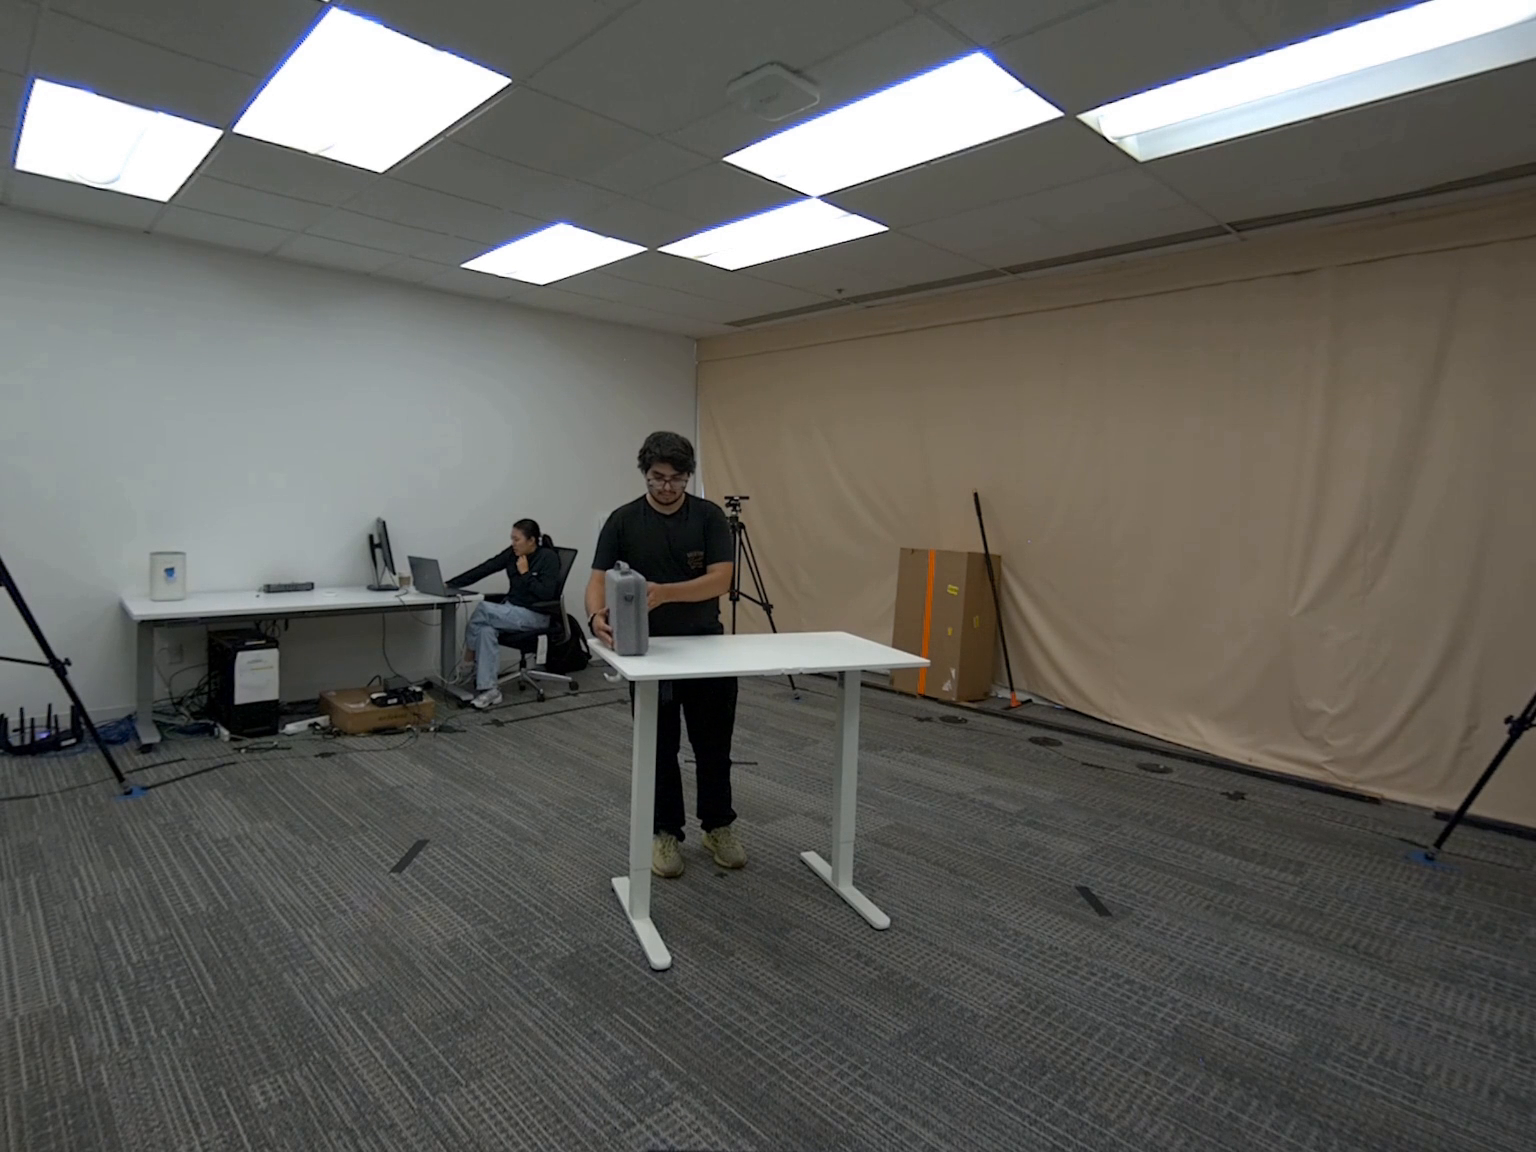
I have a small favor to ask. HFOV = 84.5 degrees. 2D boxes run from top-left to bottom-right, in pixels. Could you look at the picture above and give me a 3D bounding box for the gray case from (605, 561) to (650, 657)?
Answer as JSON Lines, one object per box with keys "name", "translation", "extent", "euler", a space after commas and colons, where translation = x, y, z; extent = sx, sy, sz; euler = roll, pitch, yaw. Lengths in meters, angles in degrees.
{"name": "gray case", "translation": [-0.477, 0.116, 2.733], "extent": [0.103, 0.259, 0.261], "euler": [0, 7, -19]}
